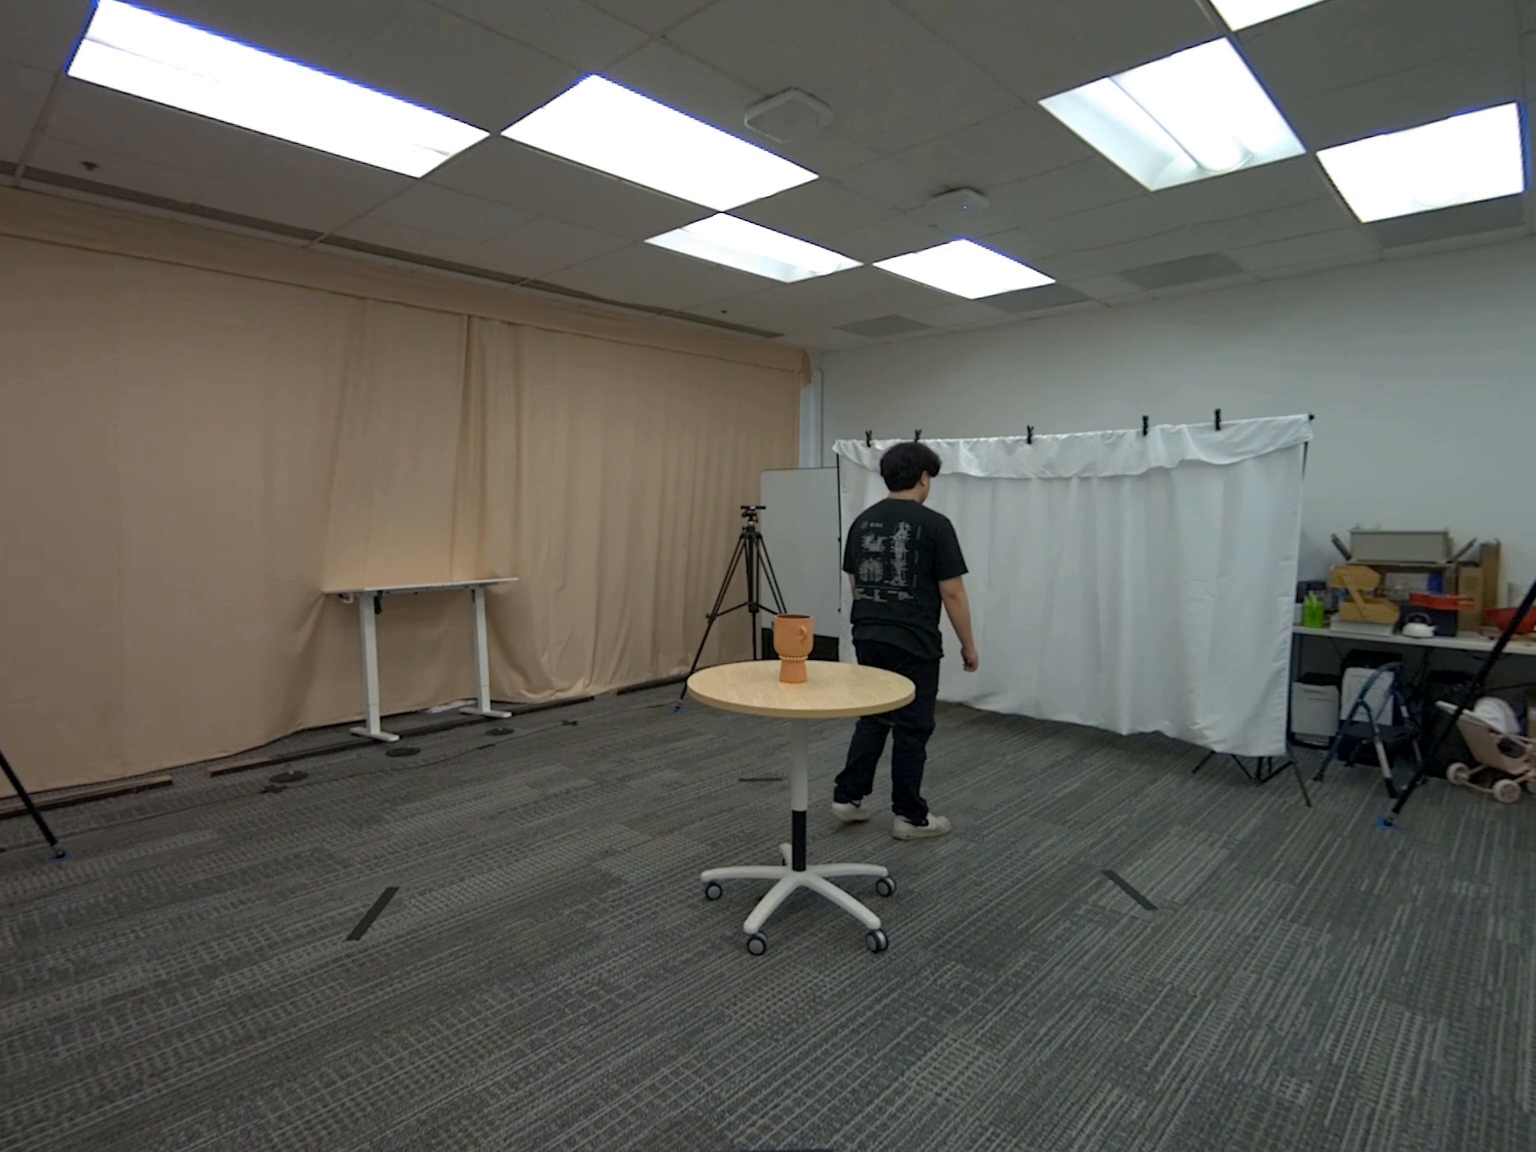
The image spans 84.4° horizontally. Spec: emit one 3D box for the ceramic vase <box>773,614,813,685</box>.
[{"bbox_3d":[0.093,0.249,2.875,0.137,0.219,0.156,1,4,16],"label":"ceramic vase"}]
